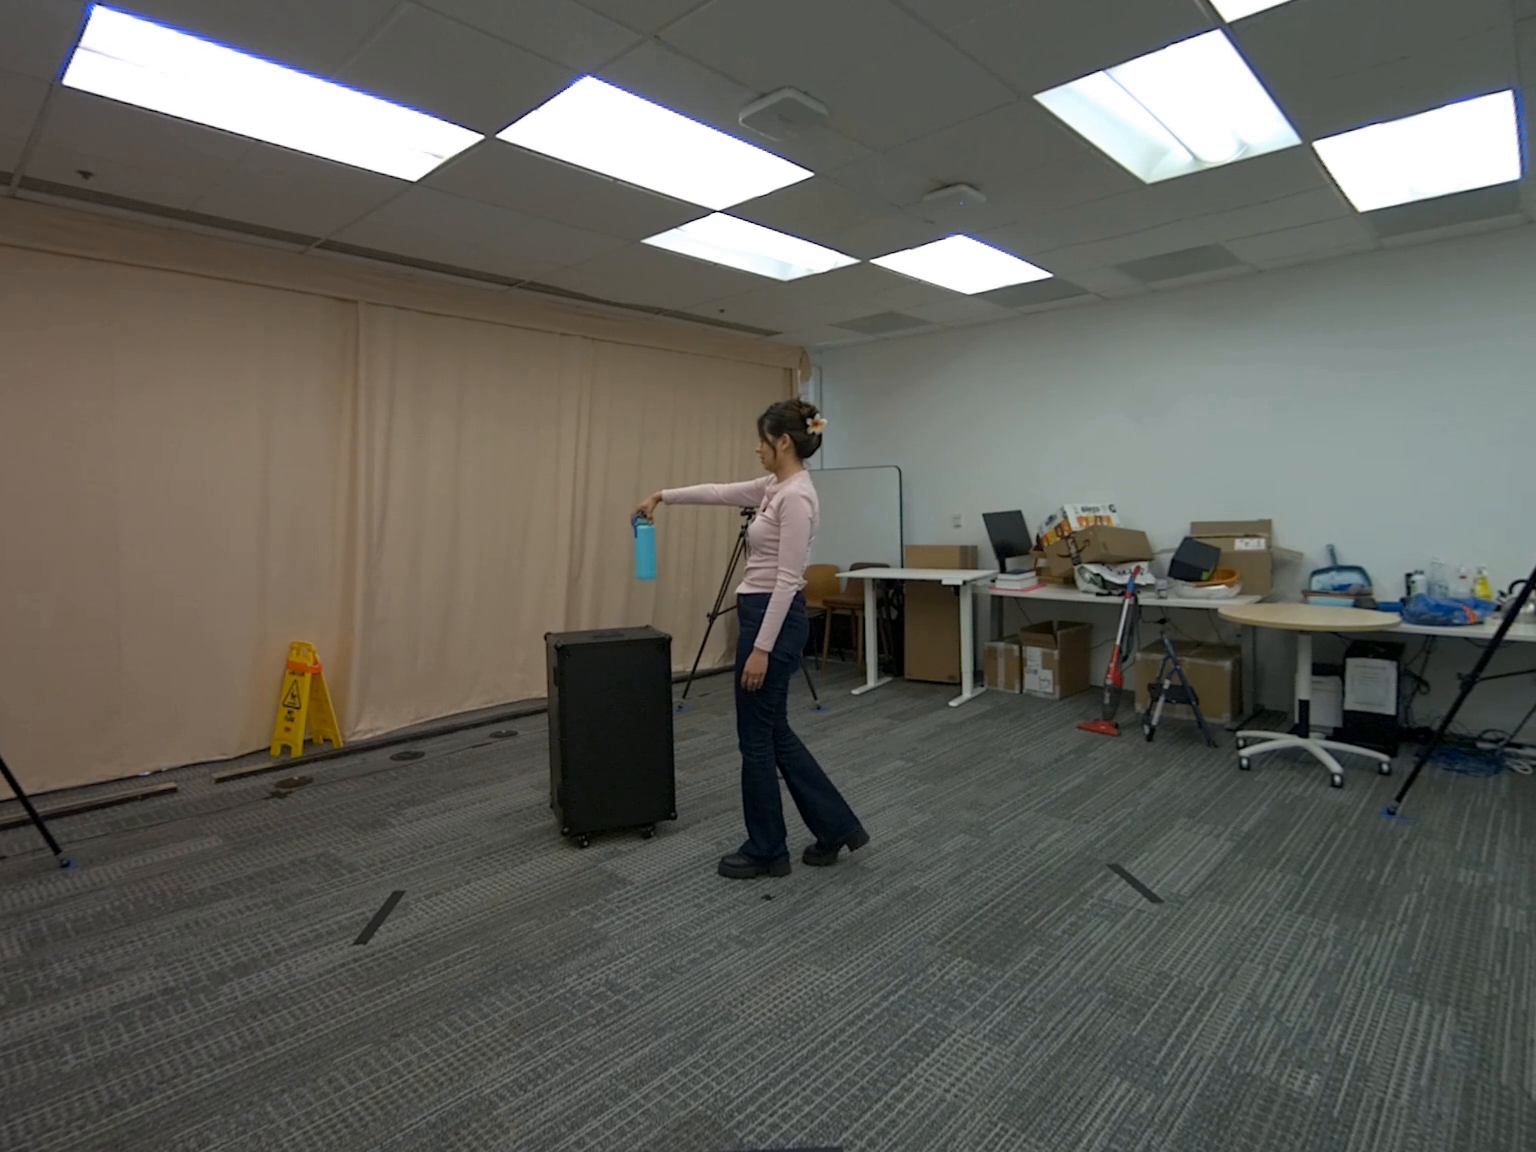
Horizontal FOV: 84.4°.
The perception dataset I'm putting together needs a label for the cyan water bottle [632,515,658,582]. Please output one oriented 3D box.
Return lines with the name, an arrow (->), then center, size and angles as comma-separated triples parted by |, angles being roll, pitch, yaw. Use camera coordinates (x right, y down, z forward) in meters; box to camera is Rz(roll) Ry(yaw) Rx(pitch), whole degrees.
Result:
cyan water bottle -> -0.513, -0.128, 3.505 | 0.092, 0.282, 0.093 | -1, 6, -2
